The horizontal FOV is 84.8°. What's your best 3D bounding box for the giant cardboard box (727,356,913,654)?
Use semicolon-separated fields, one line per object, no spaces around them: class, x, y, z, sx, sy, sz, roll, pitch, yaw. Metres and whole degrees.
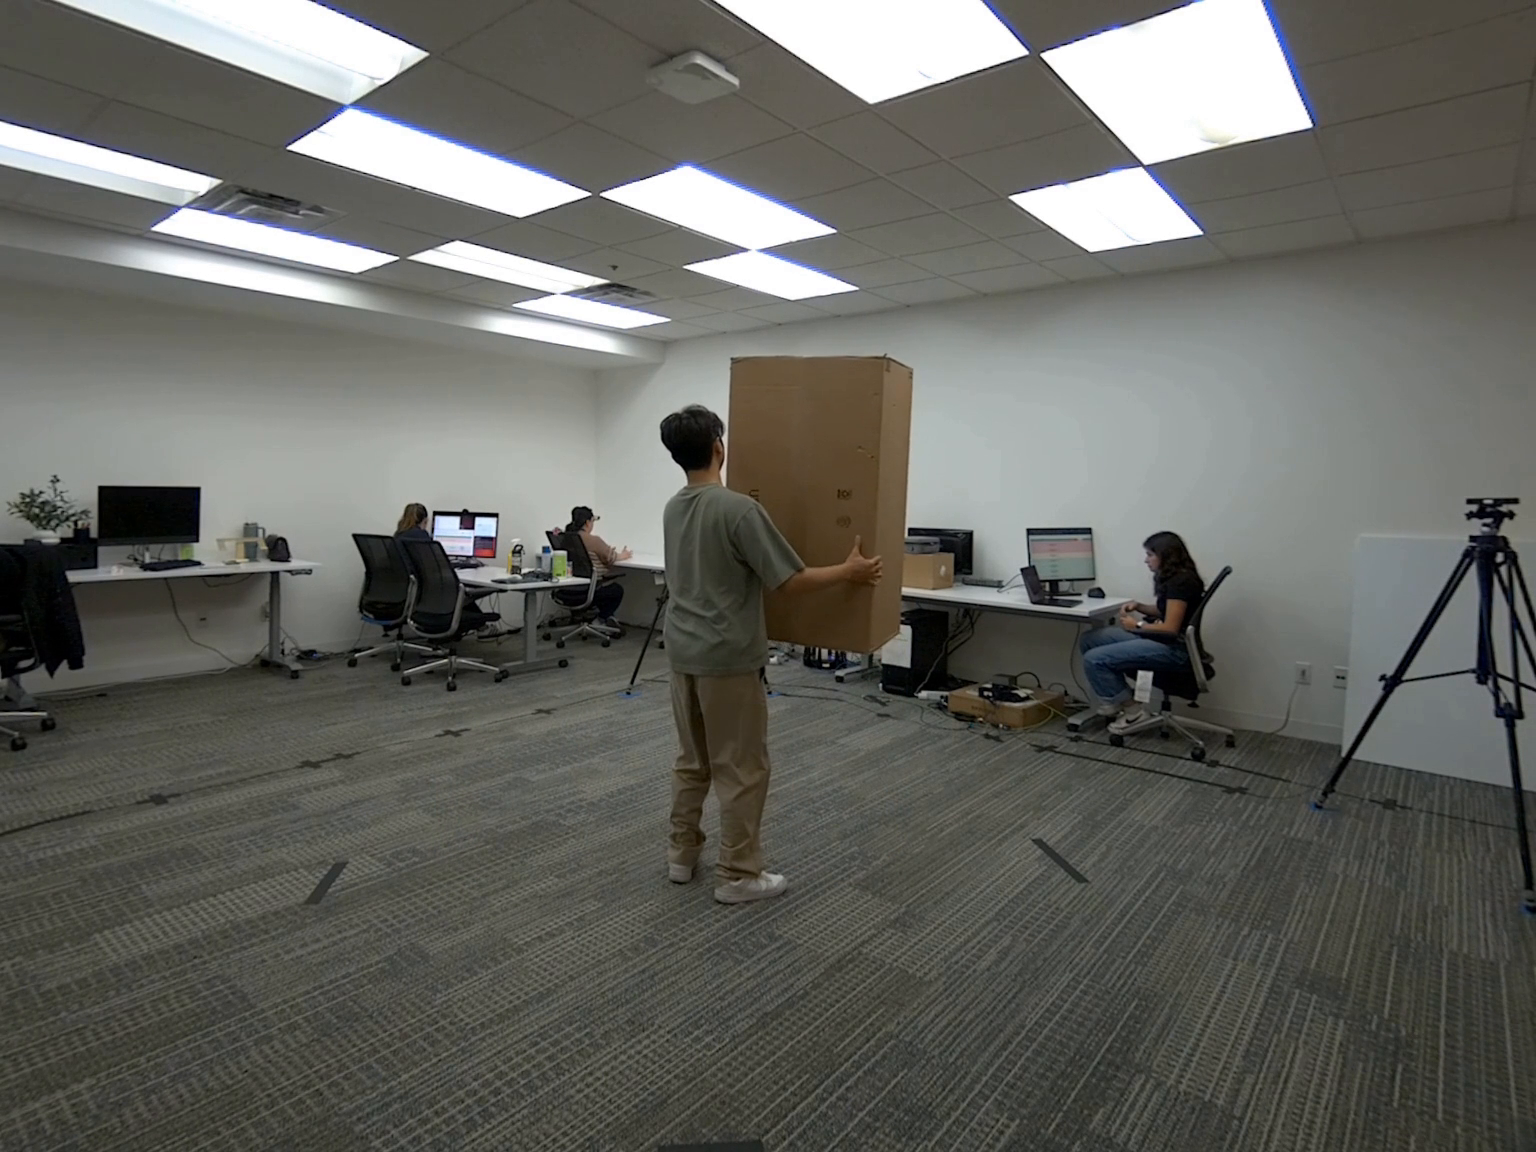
giant cardboard box;0.183;-0.283;3.193;0.592;1.021;0.417;5;6;24
